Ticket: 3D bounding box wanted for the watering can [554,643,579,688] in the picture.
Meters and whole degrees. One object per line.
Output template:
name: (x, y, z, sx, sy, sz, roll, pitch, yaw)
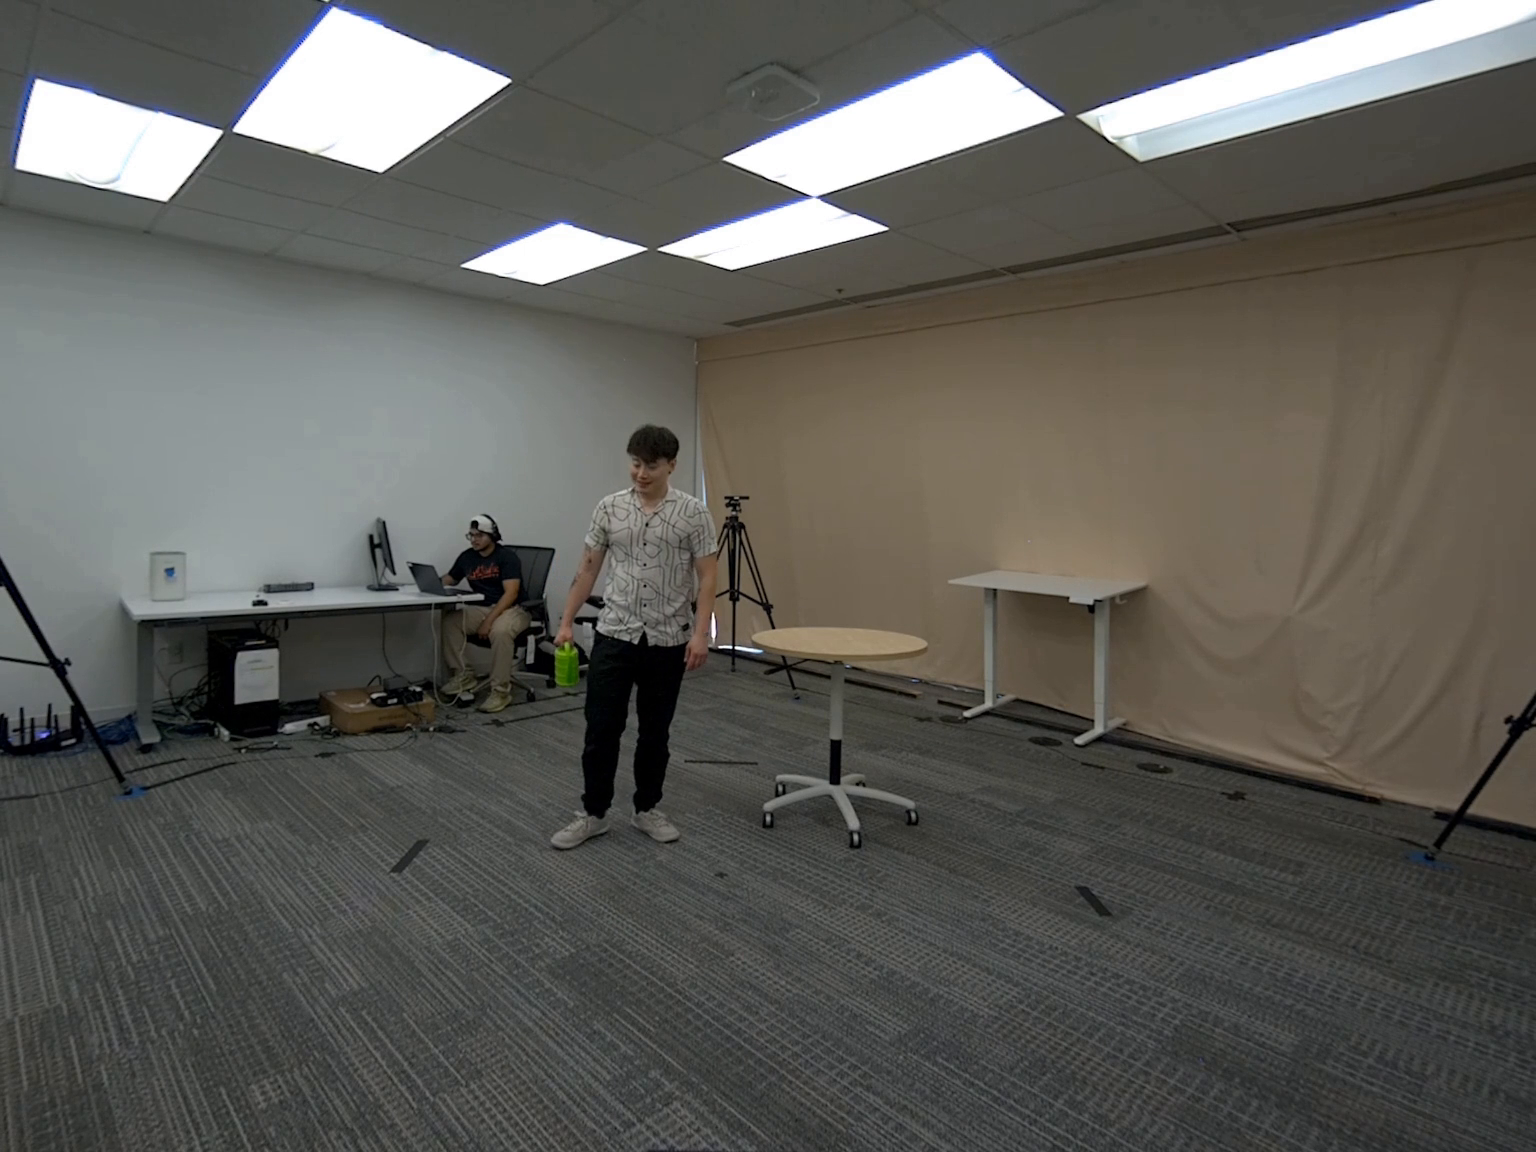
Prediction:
watering can: (-0.812, 0.351, 3.366, 0.097, 0.175, 0.282, -1, 11, -8)
